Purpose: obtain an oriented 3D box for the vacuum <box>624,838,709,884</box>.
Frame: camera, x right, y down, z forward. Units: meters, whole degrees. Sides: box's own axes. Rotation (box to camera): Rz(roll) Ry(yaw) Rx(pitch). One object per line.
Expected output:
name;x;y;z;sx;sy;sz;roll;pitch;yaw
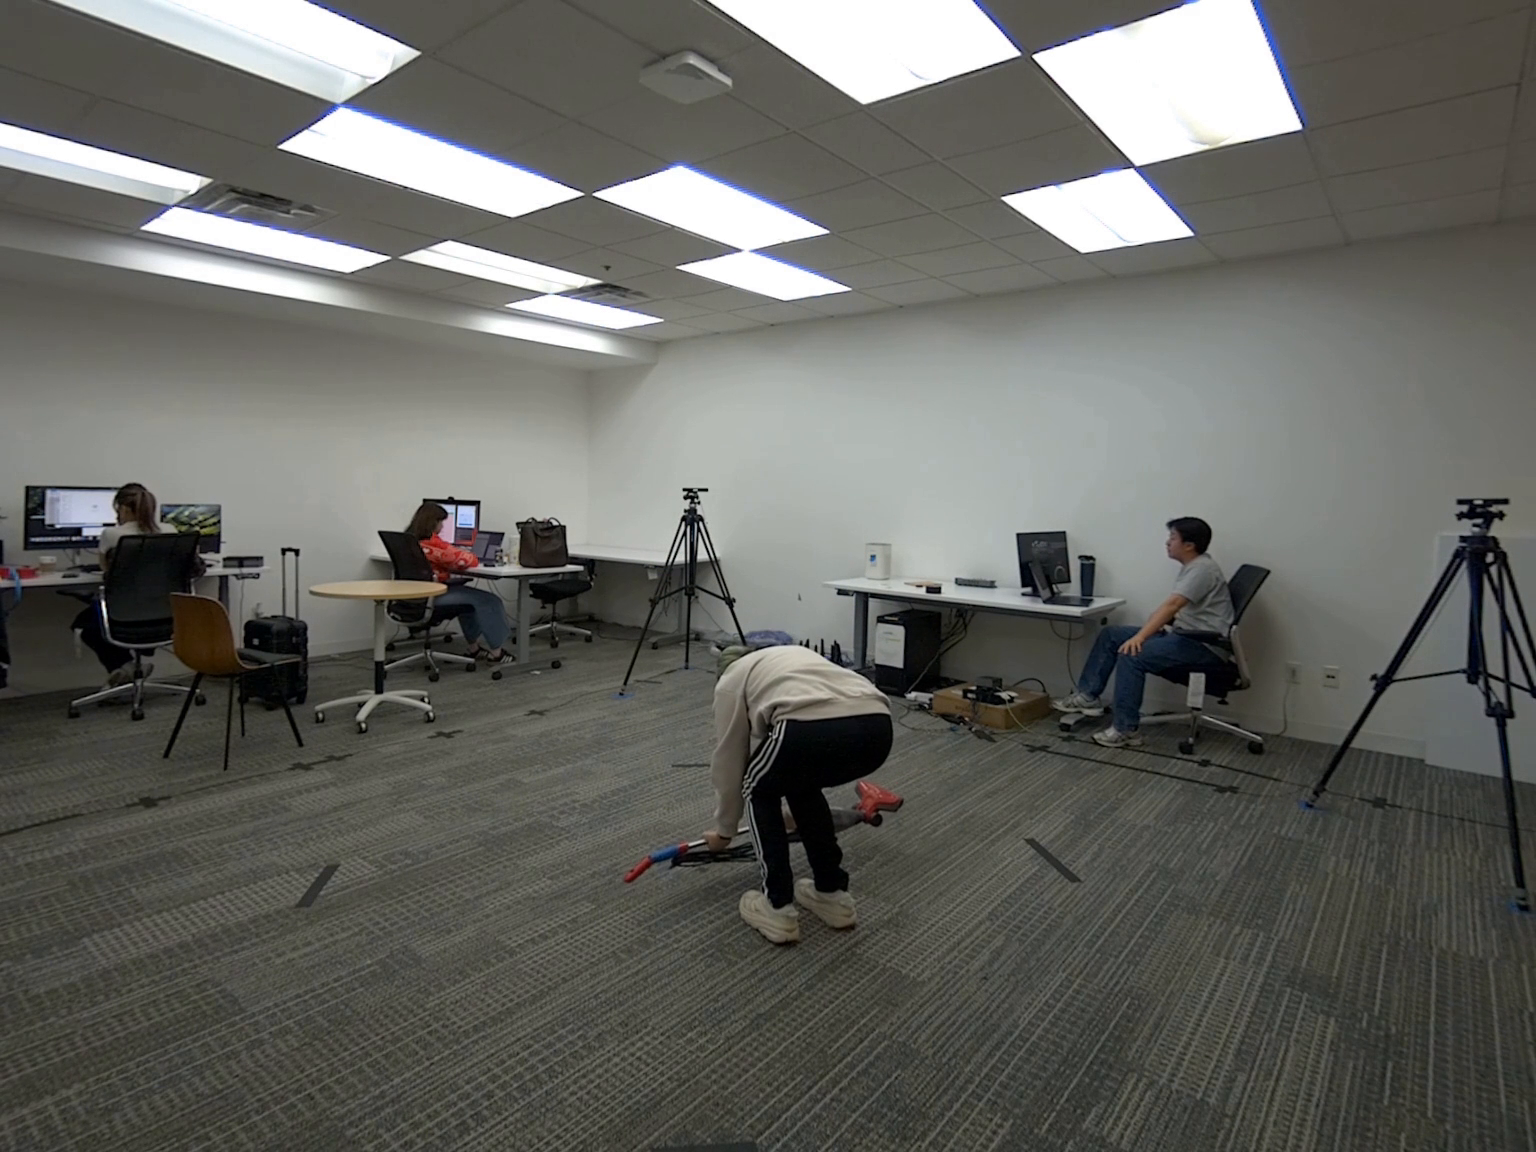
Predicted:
vacuum;-0.032;0.943;3.074;1.024;0.143;0.260;-8;9;-31
